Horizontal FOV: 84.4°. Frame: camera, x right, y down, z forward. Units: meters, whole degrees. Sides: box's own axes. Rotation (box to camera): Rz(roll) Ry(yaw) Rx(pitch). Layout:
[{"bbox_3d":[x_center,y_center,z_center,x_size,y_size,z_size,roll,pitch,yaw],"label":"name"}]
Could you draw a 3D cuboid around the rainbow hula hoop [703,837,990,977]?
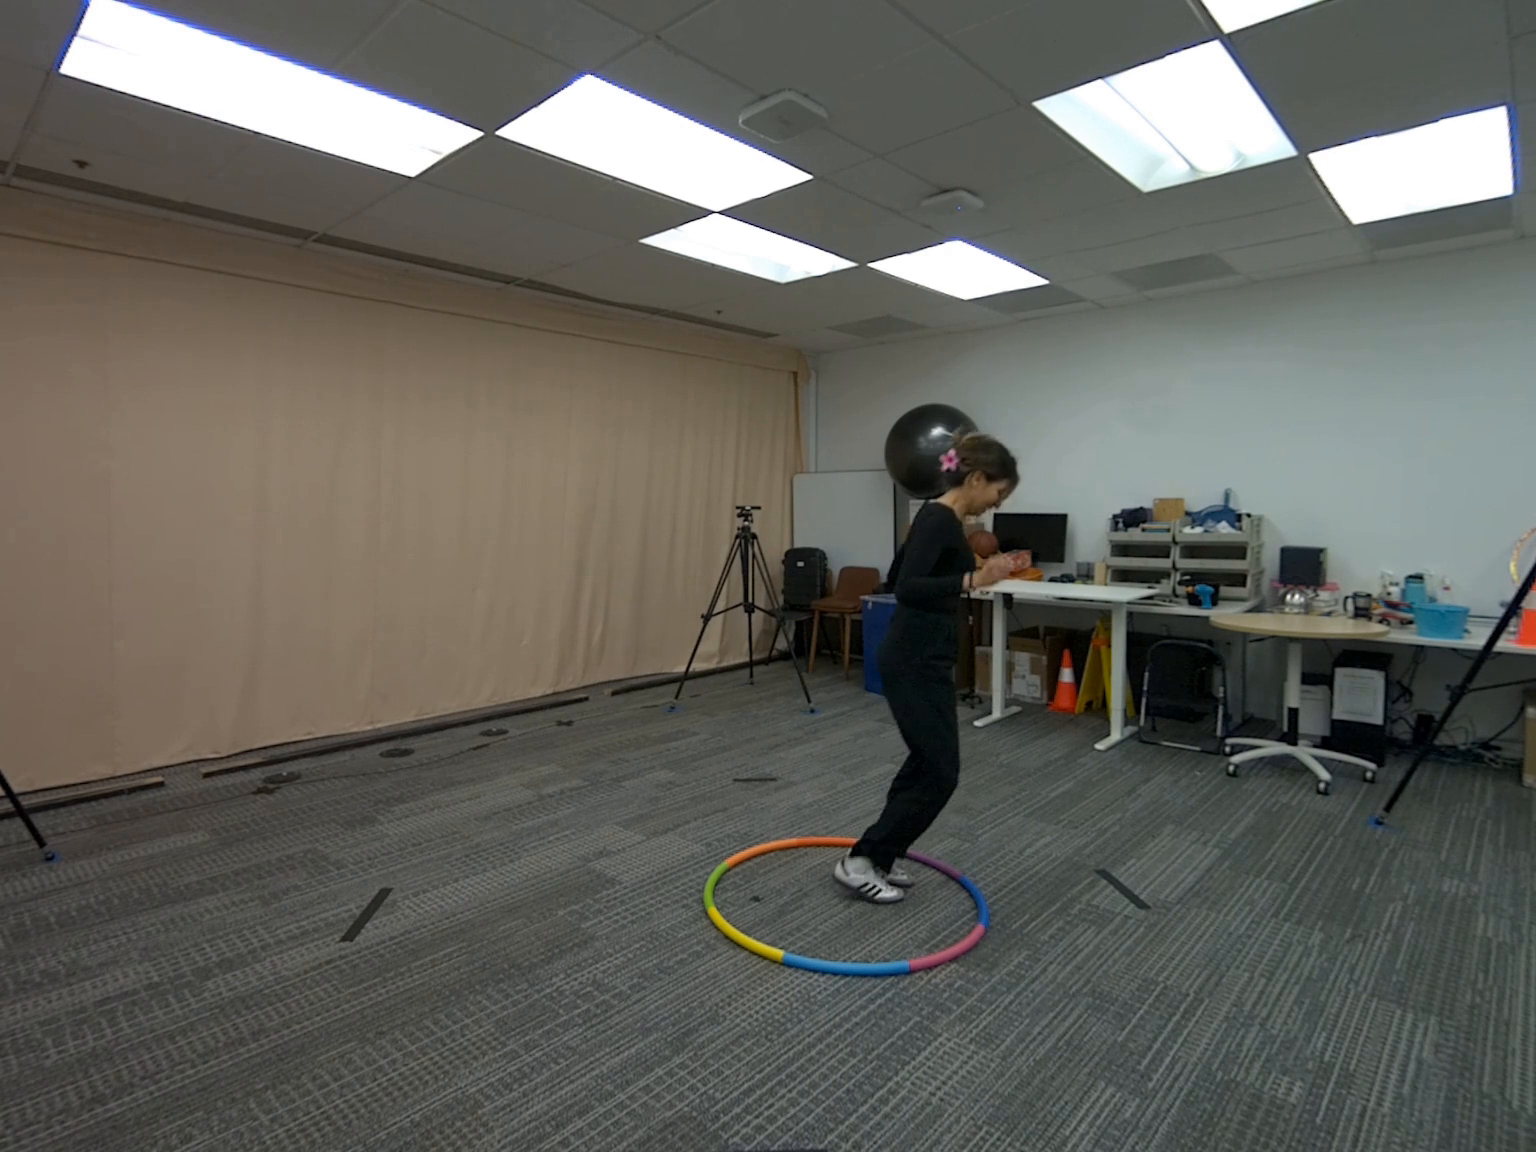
[{"bbox_3d":[0.264,1.117,2.972,0.978,0.035,0.982,0,5,-2],"label":"rainbow hula hoop"}]
